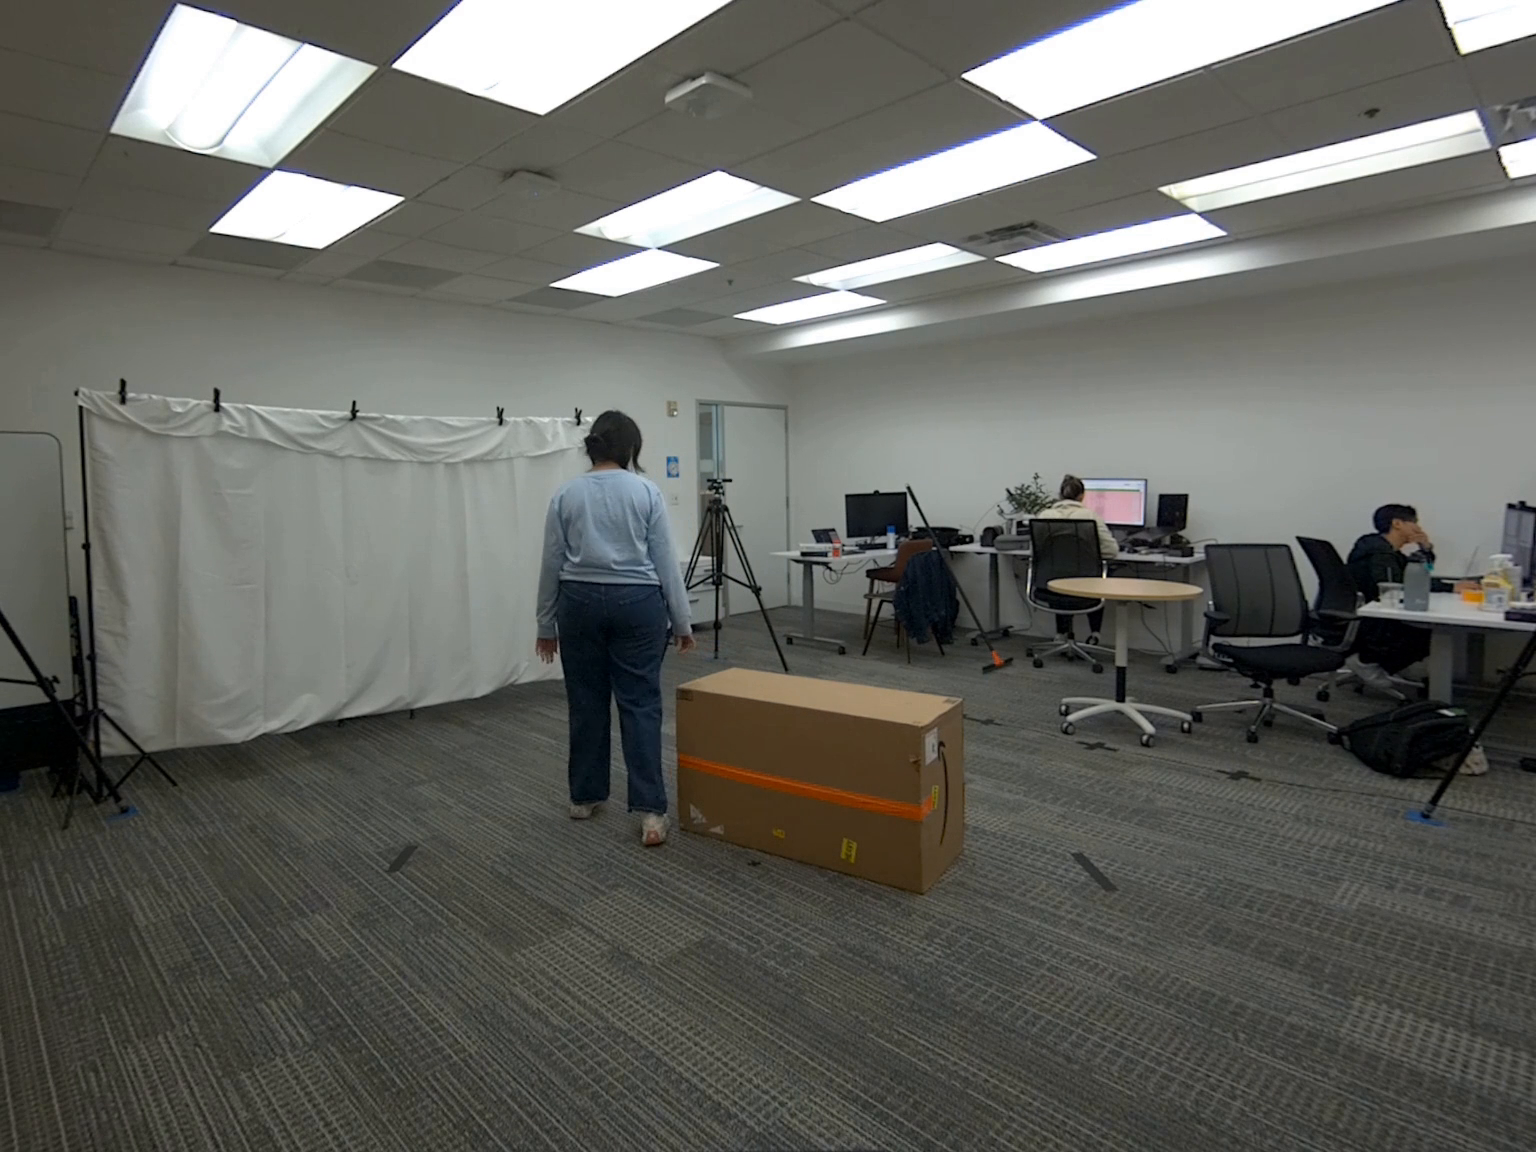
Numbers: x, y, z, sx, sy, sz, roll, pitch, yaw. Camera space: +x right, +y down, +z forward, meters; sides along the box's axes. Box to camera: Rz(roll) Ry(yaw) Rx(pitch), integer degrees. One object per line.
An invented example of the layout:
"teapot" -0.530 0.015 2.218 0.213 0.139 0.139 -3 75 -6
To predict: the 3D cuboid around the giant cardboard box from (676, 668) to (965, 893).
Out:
"giant cardboard box" 0.188 0.735 3.283 1.056 0.582 0.436 3 5 34
